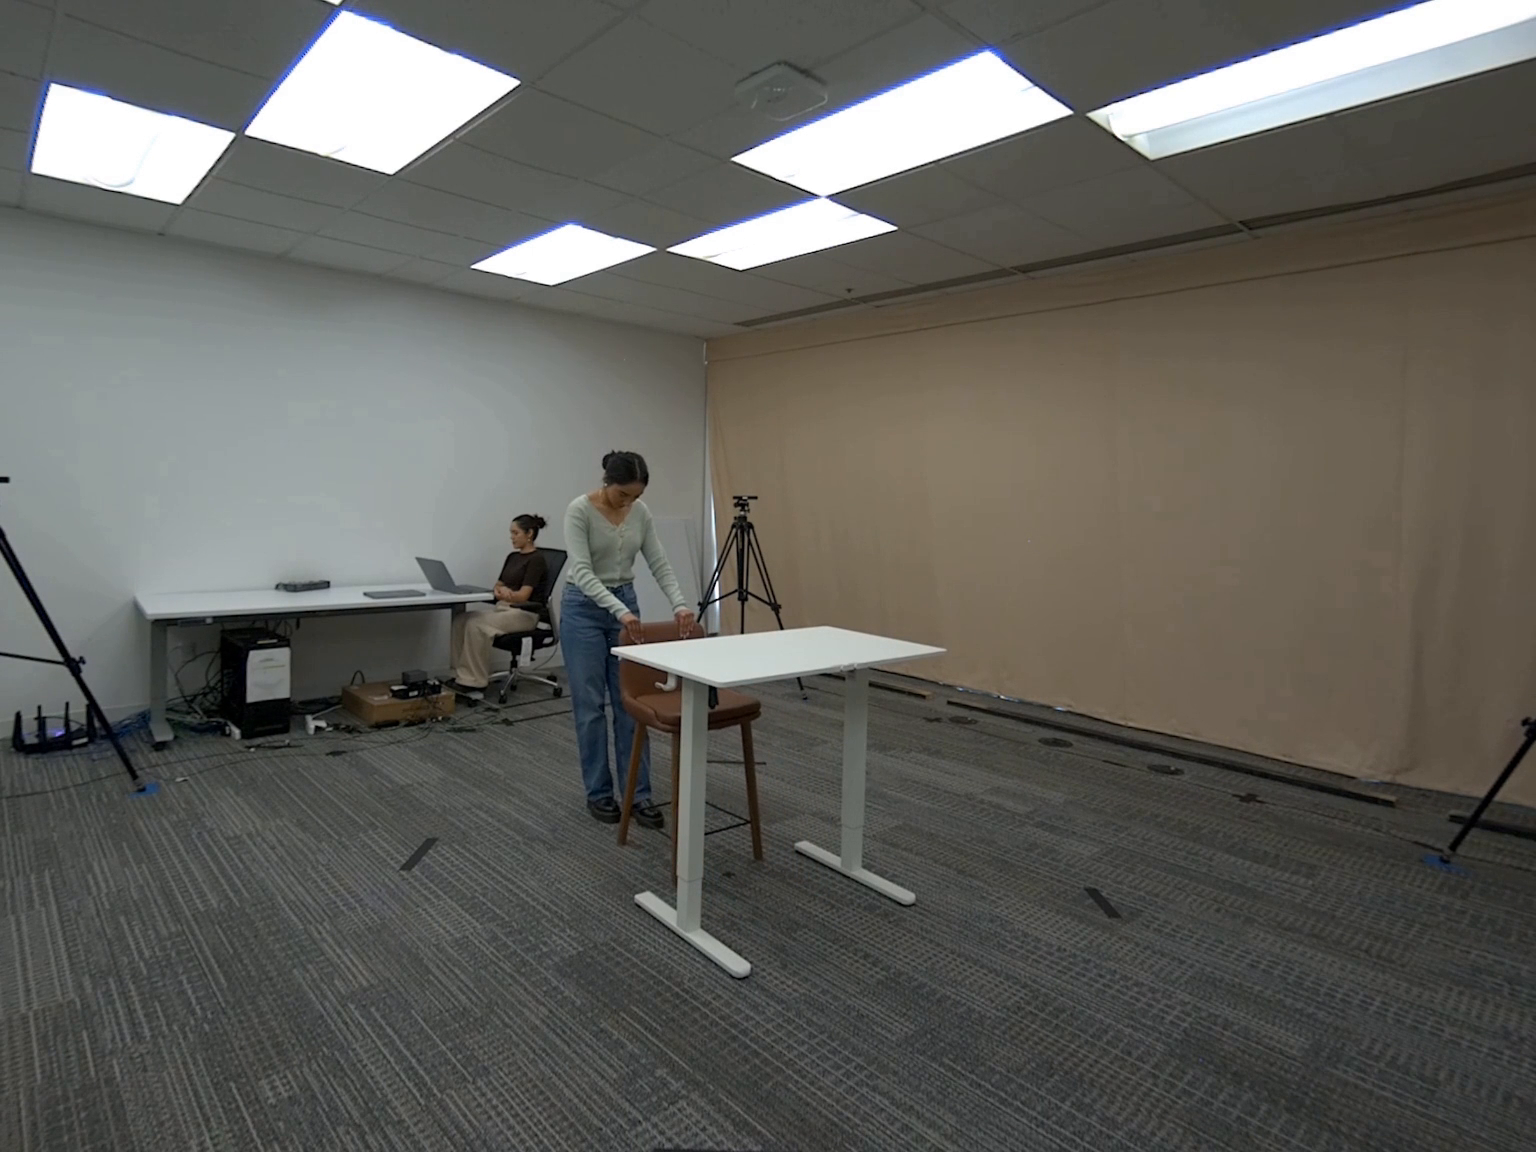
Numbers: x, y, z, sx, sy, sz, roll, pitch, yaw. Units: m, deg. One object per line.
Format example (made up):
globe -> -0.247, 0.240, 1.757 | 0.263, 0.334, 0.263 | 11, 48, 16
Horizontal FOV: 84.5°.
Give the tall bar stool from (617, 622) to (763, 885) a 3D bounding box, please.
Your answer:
tall bar stool -> -0.319, 0.642, 3.276 | 0.446, 0.889, 0.479 | -1, 2, -39
